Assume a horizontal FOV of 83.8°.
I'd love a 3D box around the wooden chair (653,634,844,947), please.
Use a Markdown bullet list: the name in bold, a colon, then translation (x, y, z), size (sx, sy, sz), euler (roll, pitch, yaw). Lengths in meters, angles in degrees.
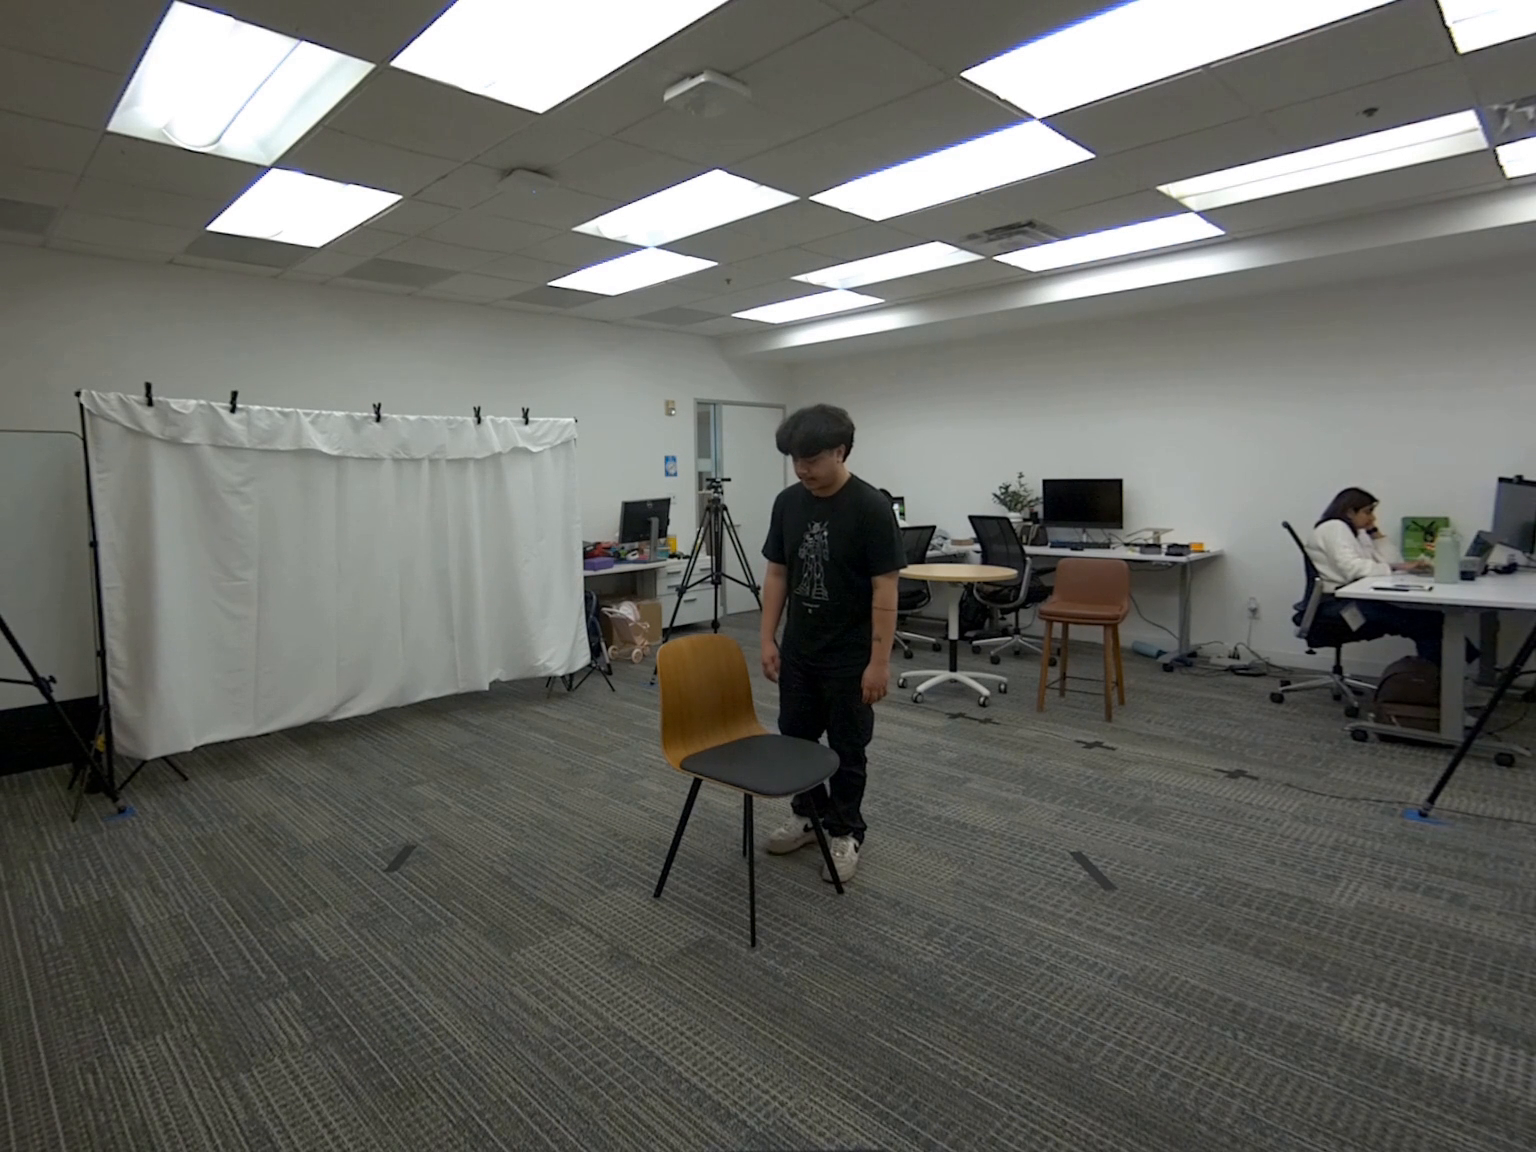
- **wooden chair**: translation (-0.064, 0.645, 2.819), size (0.538, 0.877, 0.465), euler (-3, 2, 43)
